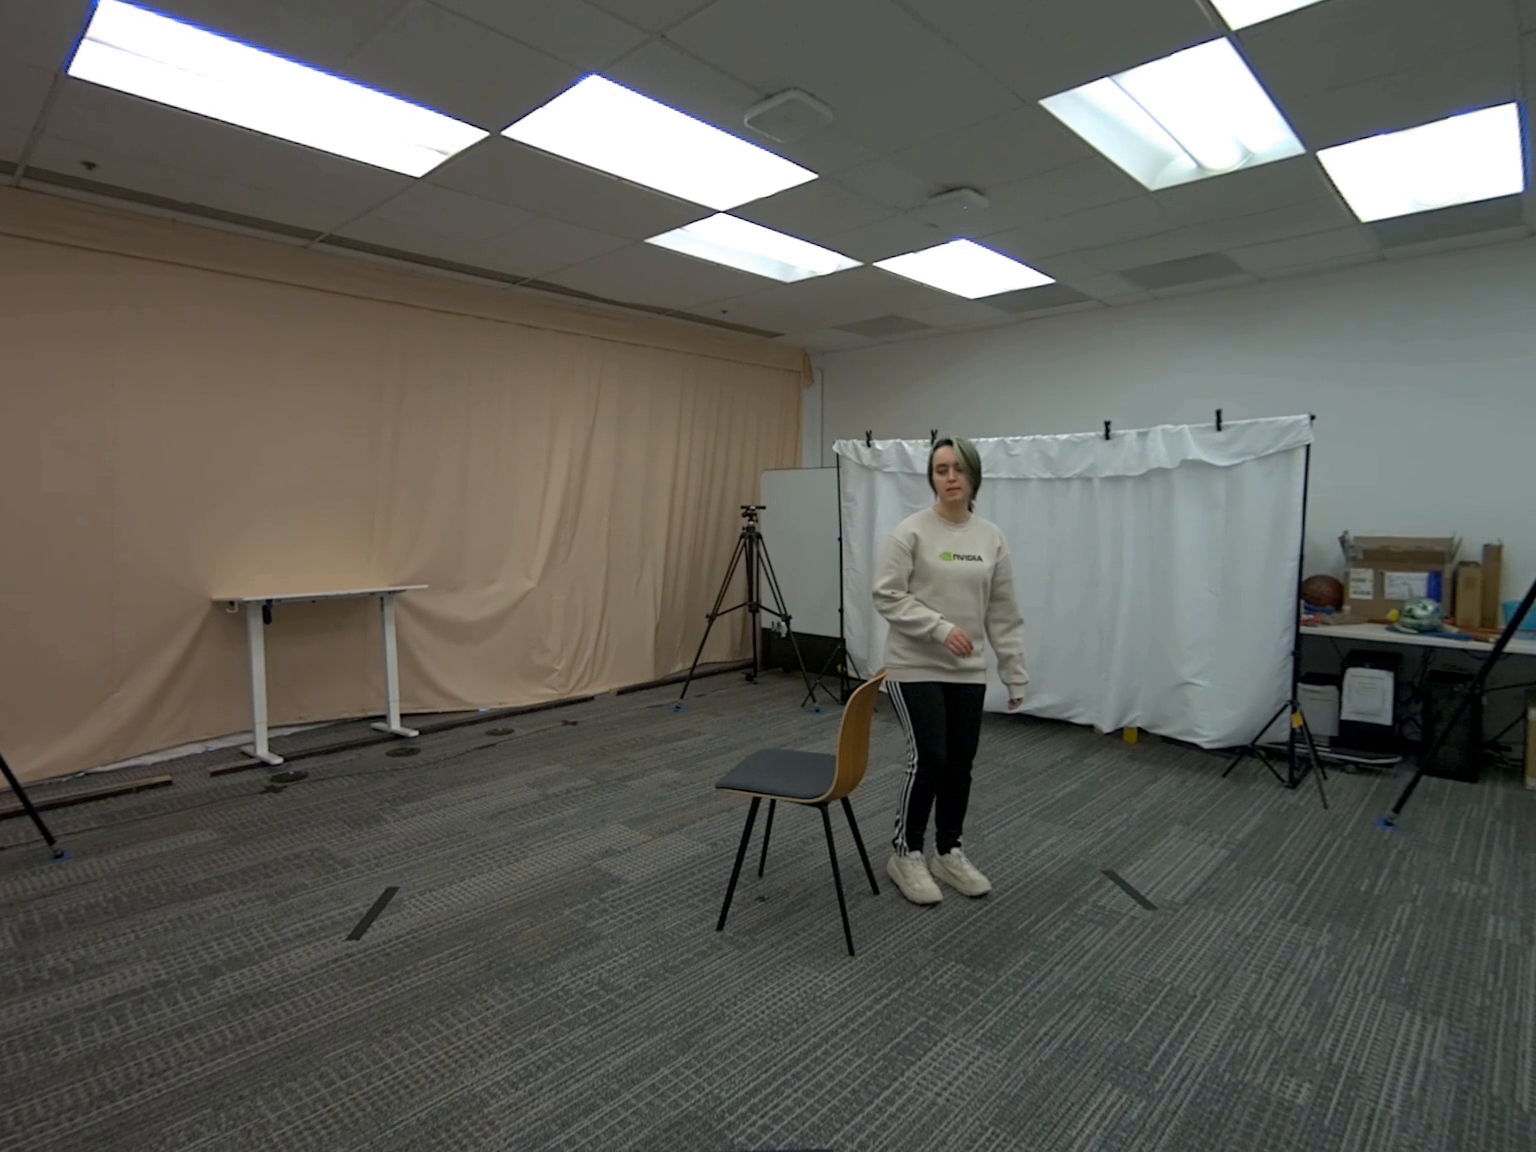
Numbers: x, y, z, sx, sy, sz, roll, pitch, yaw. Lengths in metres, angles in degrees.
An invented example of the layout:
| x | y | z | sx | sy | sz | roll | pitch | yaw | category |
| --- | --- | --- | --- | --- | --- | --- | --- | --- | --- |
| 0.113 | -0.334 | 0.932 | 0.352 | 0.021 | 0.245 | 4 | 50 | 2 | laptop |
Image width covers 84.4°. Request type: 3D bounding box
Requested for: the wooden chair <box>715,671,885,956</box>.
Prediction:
| x | y | z | sx | sy | sz | roll | pitch | yaw | category |
| --- | --- | --- | --- | --- | --- | --- | --- | --- | --- |
| 0.106 | 0.726 | 2.857 | 0.535 | 0.875 | 0.469 | 6 | 5 | 20 | wooden chair |
